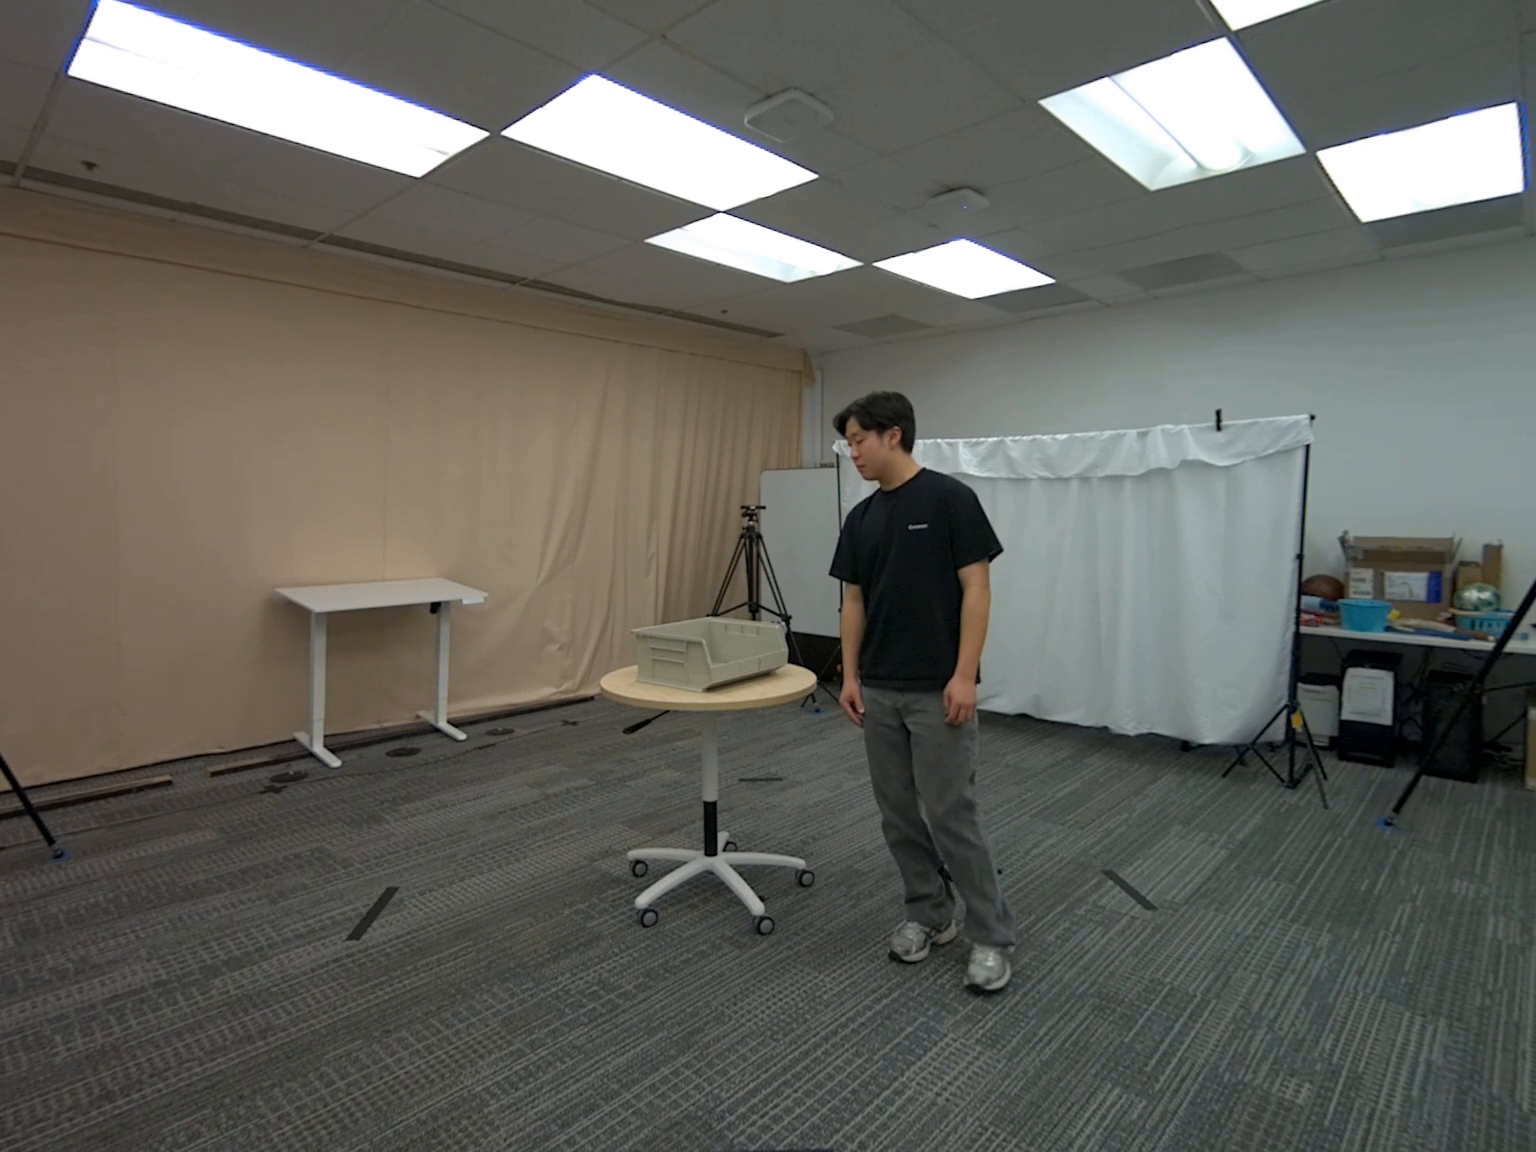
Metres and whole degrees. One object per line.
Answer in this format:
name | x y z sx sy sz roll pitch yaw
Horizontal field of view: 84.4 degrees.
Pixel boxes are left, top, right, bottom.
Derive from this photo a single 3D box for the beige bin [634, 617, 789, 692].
beige bin | -0.196 0.275 2.985 0.389 0.188 0.410 1 5 39
